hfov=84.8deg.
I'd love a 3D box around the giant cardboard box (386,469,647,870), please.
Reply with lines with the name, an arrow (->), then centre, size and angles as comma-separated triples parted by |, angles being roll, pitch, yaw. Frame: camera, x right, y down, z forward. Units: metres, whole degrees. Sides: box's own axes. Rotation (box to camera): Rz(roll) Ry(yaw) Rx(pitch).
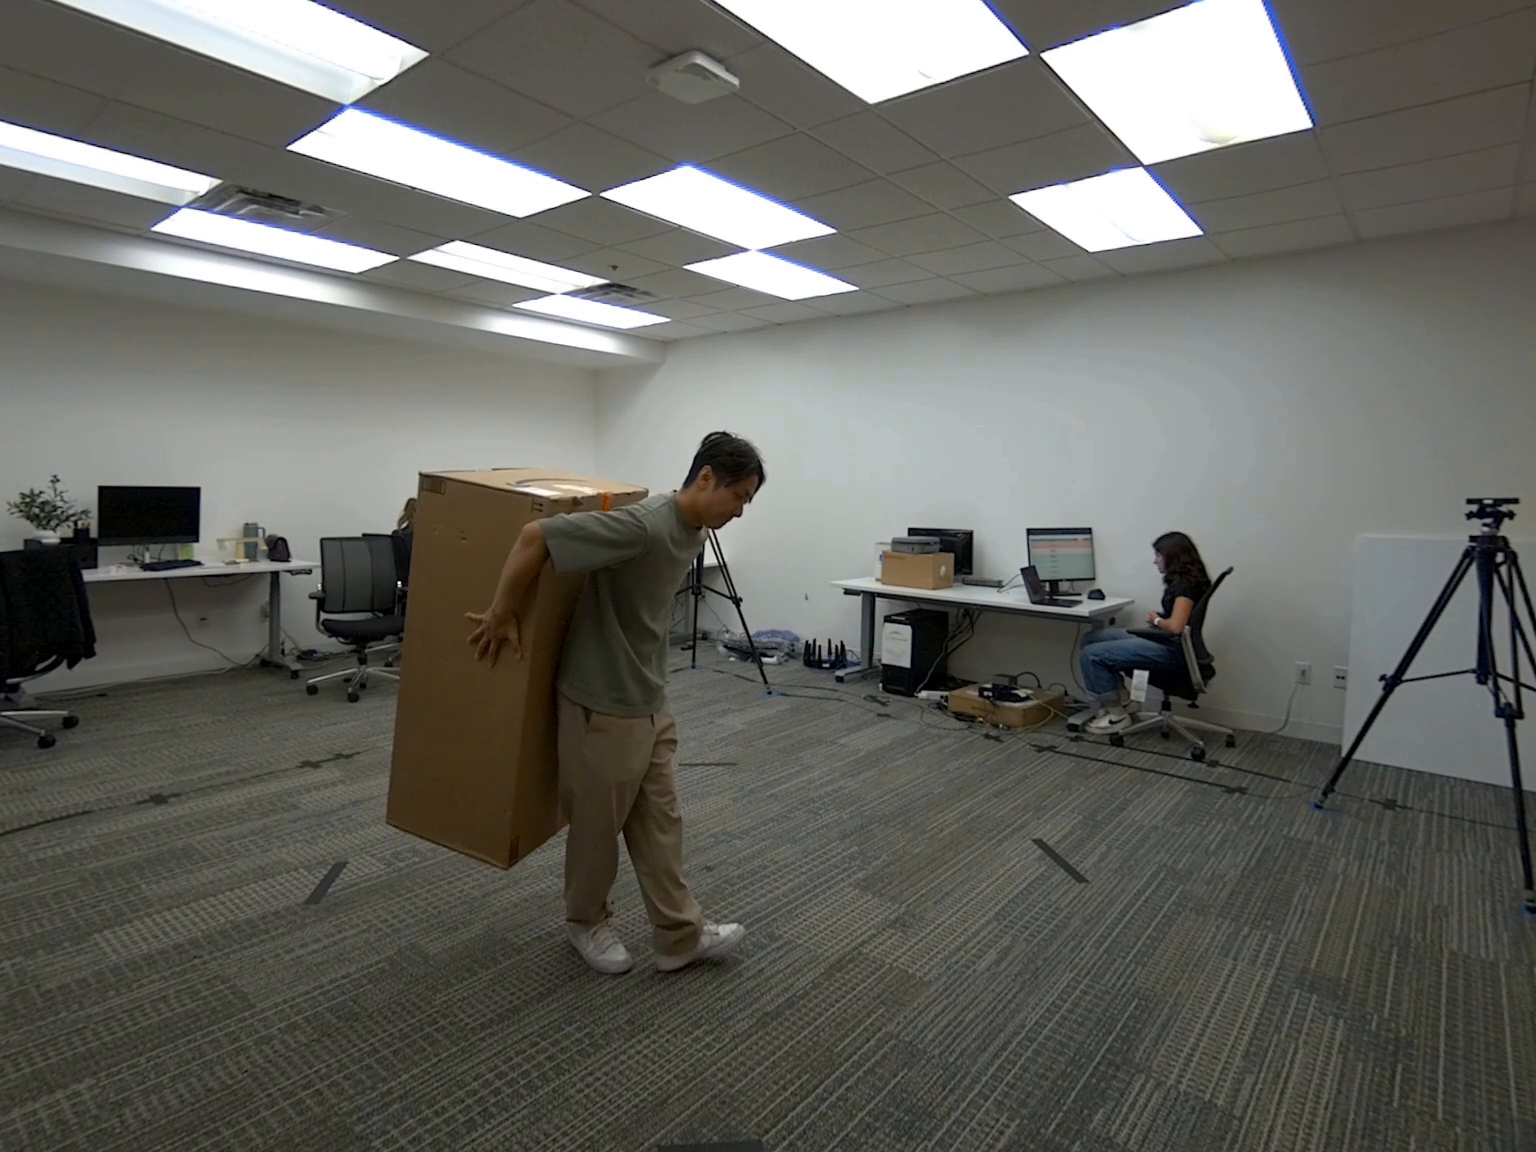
giant cardboard box -> -0.745, 0.219, 2.551 | 0.436, 1.019, 0.568 | 11, 9, 18
